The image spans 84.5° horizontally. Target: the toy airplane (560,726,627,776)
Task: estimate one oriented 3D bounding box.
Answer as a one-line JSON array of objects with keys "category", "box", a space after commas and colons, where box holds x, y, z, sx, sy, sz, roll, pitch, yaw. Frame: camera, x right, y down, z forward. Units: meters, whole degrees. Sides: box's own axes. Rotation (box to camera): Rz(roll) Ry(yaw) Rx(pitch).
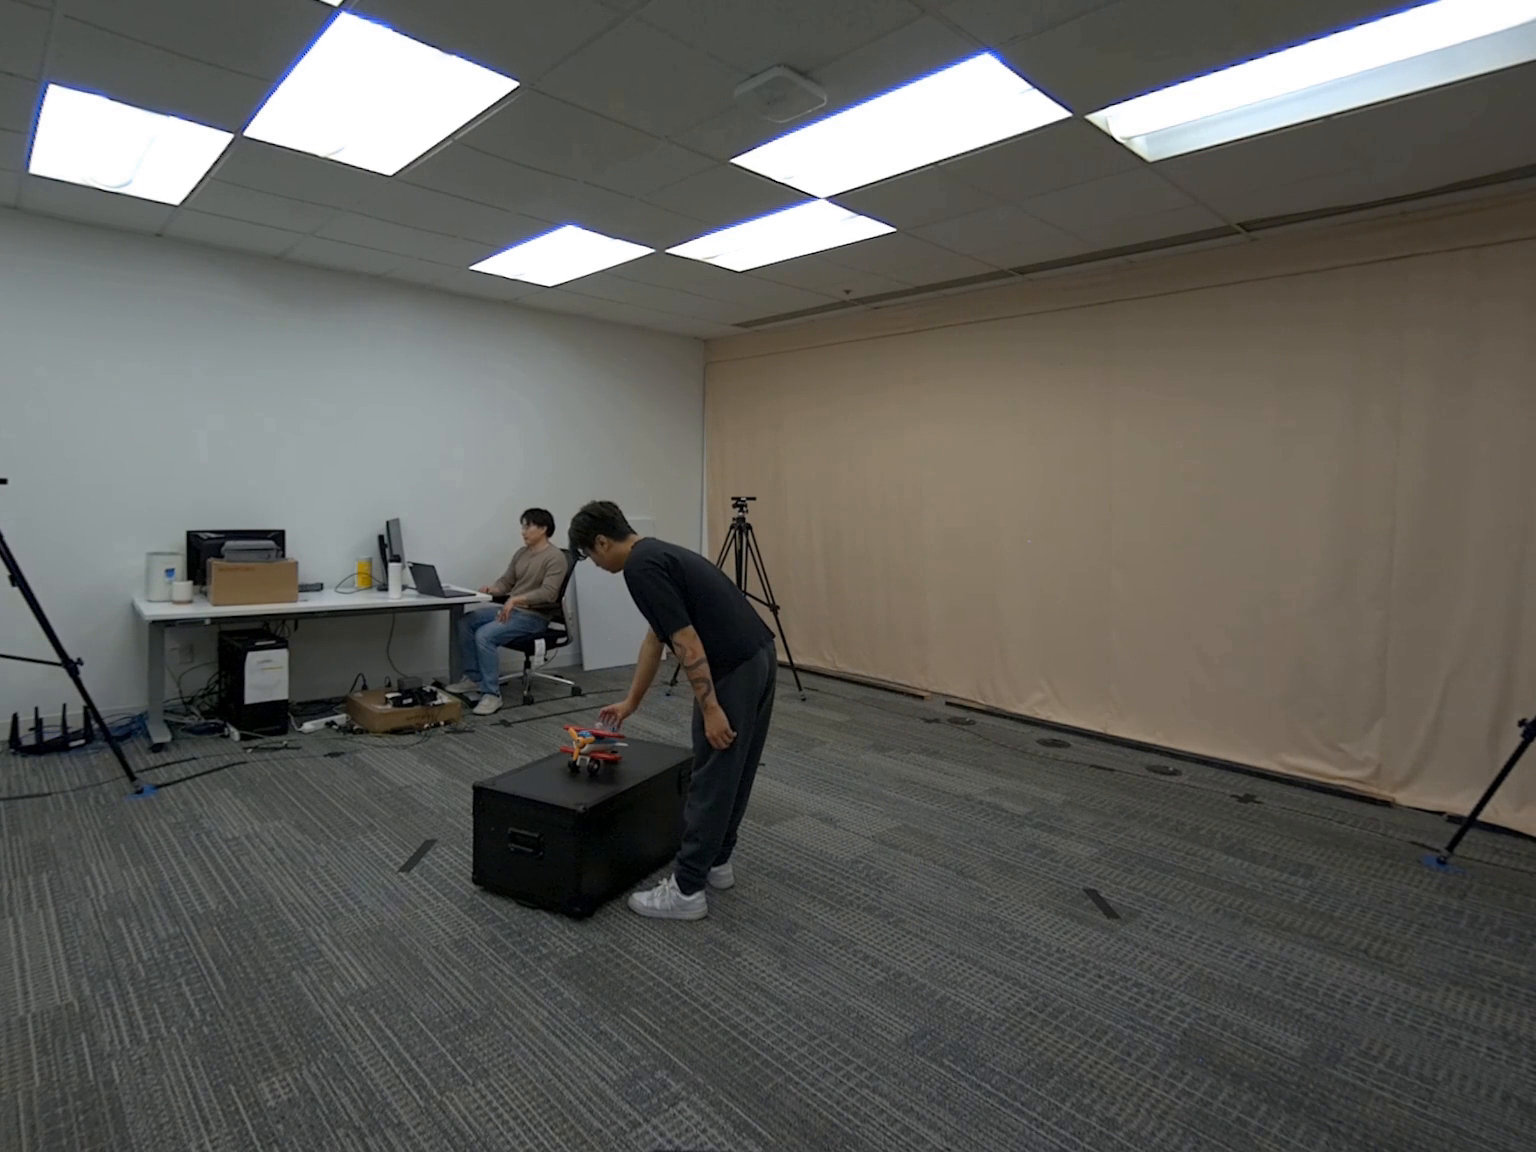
[{"category": "toy airplane", "box": [-0.666, 0.638, 3.176, 0.250, 0.156, 0.261, 1, 5, -3]}]
